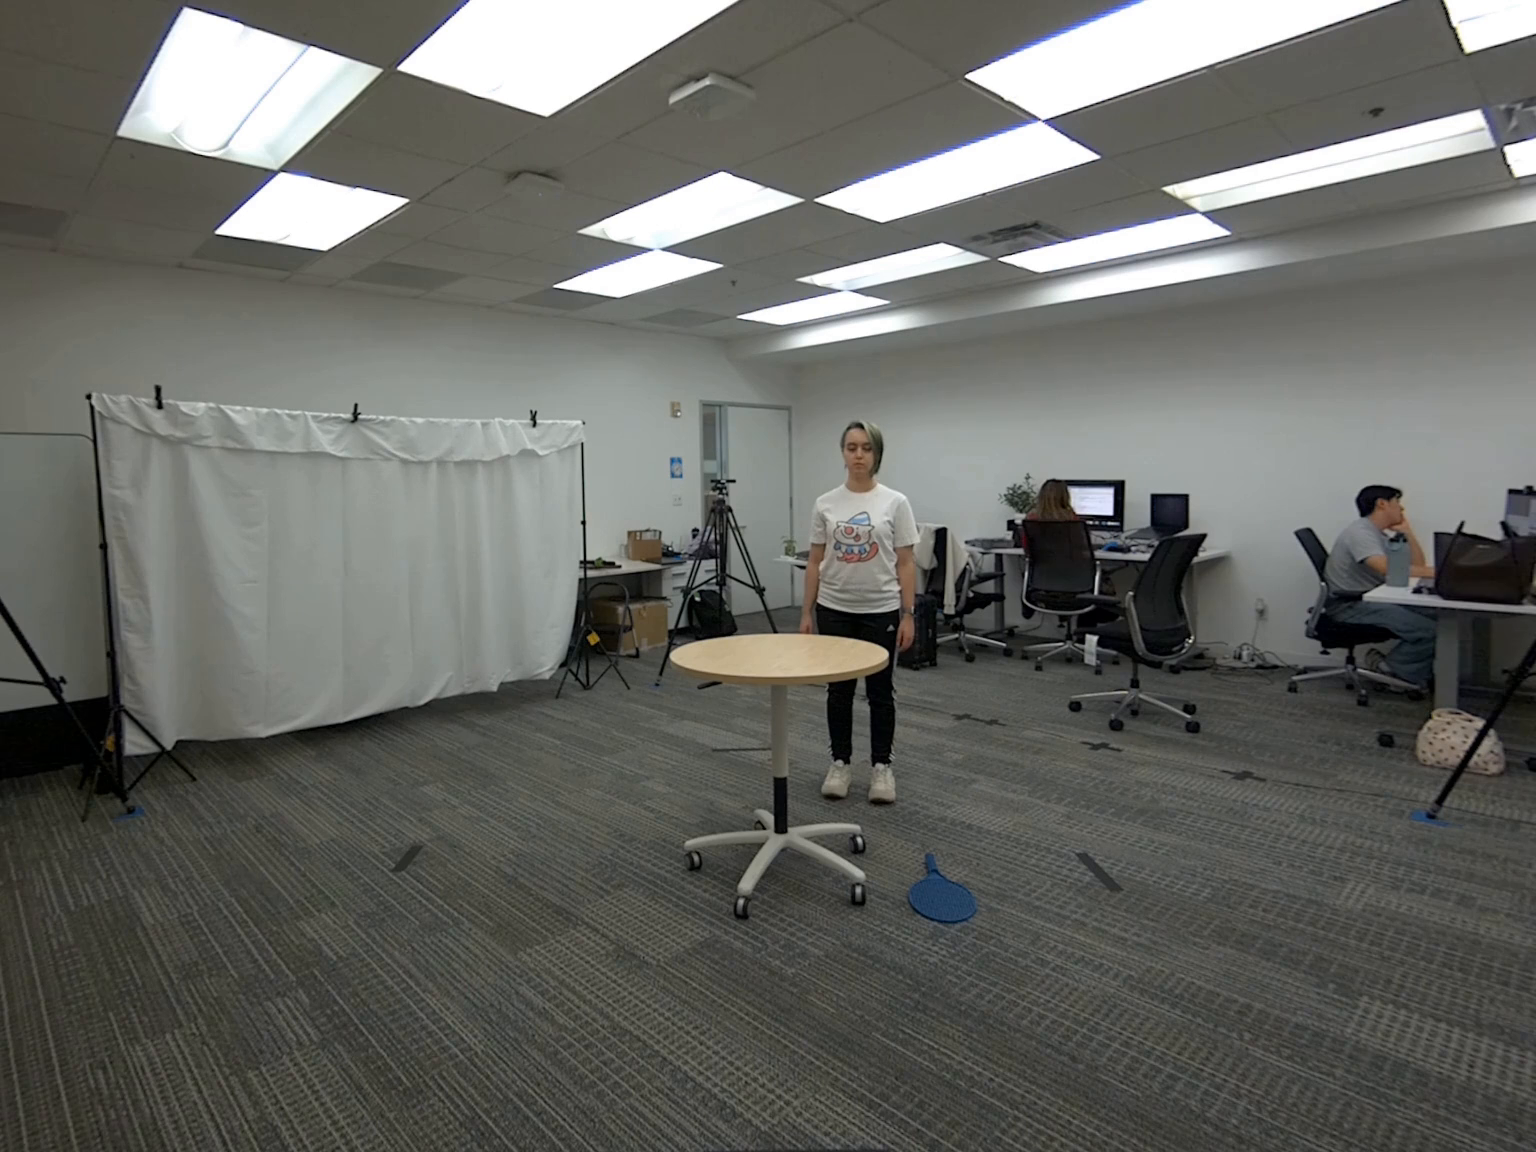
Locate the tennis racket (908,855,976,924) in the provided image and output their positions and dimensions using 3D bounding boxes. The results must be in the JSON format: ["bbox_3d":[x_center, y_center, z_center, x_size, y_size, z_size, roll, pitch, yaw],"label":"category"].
[{"bbox_3d":[0.562,1.047,2.884,0.215,0.031,0.434,-1,8,3],"label":"tennis racket"}]
